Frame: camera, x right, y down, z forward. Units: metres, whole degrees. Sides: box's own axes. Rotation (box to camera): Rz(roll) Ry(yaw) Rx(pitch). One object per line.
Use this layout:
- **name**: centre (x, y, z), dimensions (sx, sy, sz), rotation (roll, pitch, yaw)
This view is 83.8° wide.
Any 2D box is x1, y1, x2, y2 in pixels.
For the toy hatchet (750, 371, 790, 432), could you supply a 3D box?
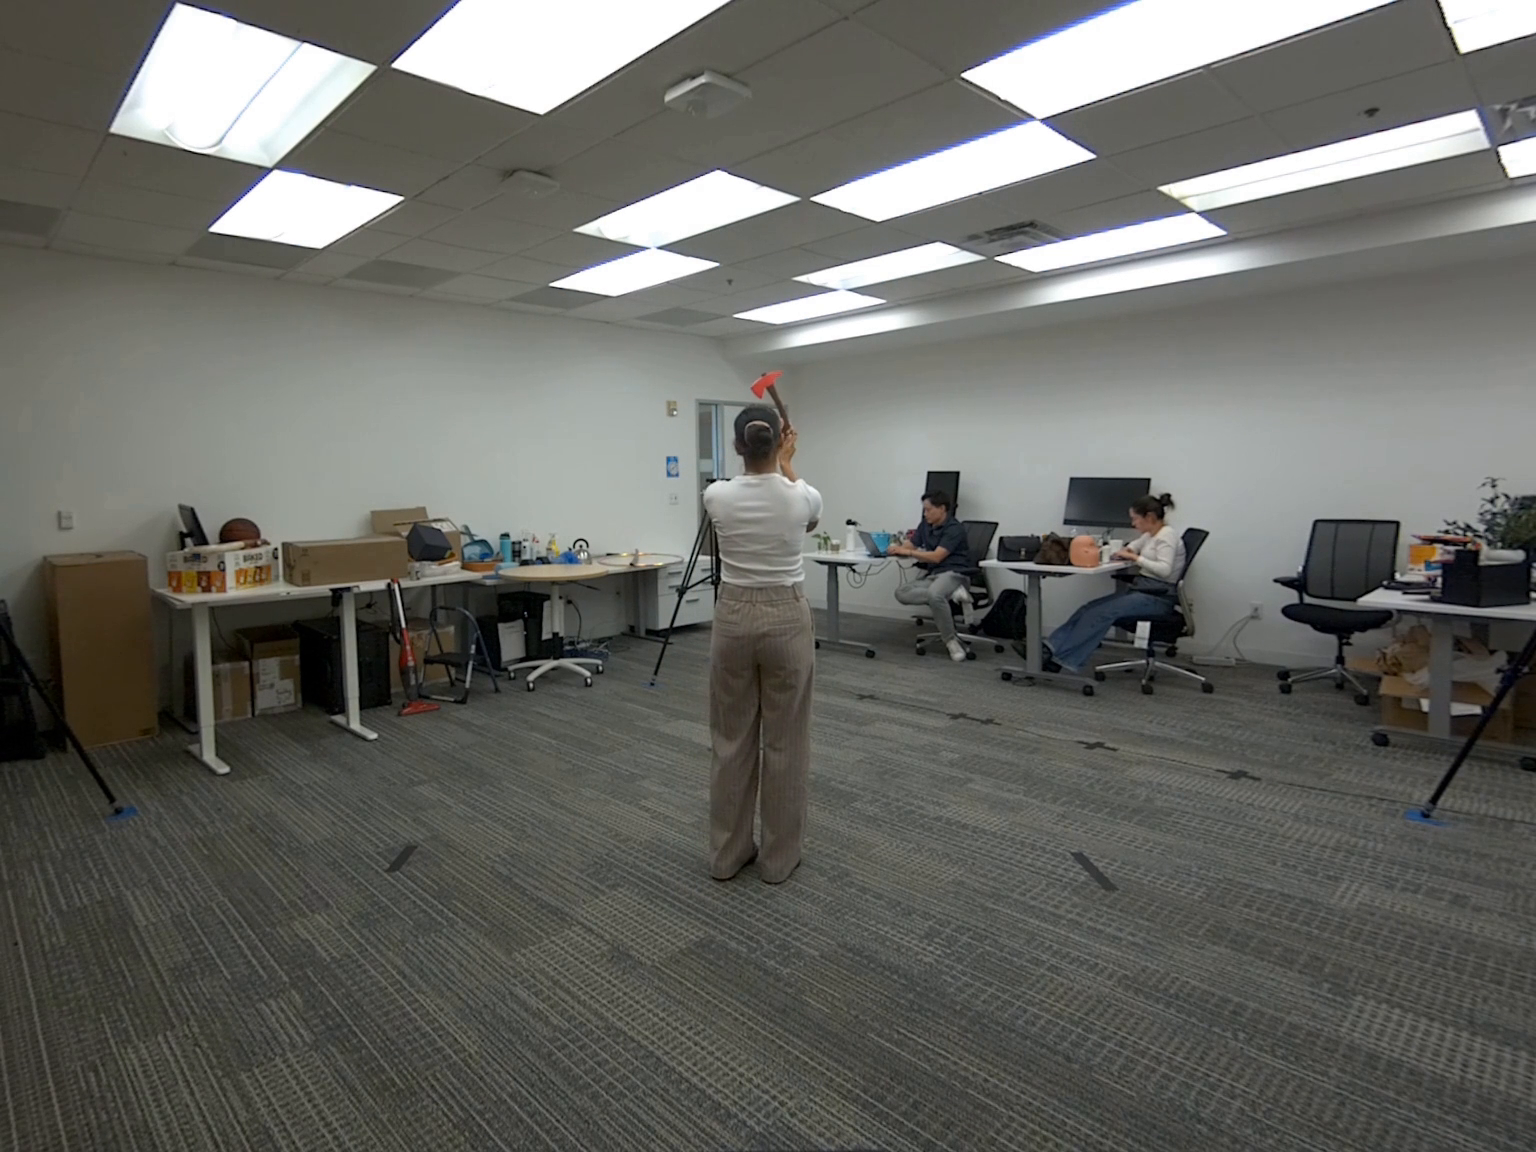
- **toy hatchet**: centre (0.011, -0.639, 3.239), dimensions (0.130, 0.268, 0.030), rotation (-9, 7, -11)
